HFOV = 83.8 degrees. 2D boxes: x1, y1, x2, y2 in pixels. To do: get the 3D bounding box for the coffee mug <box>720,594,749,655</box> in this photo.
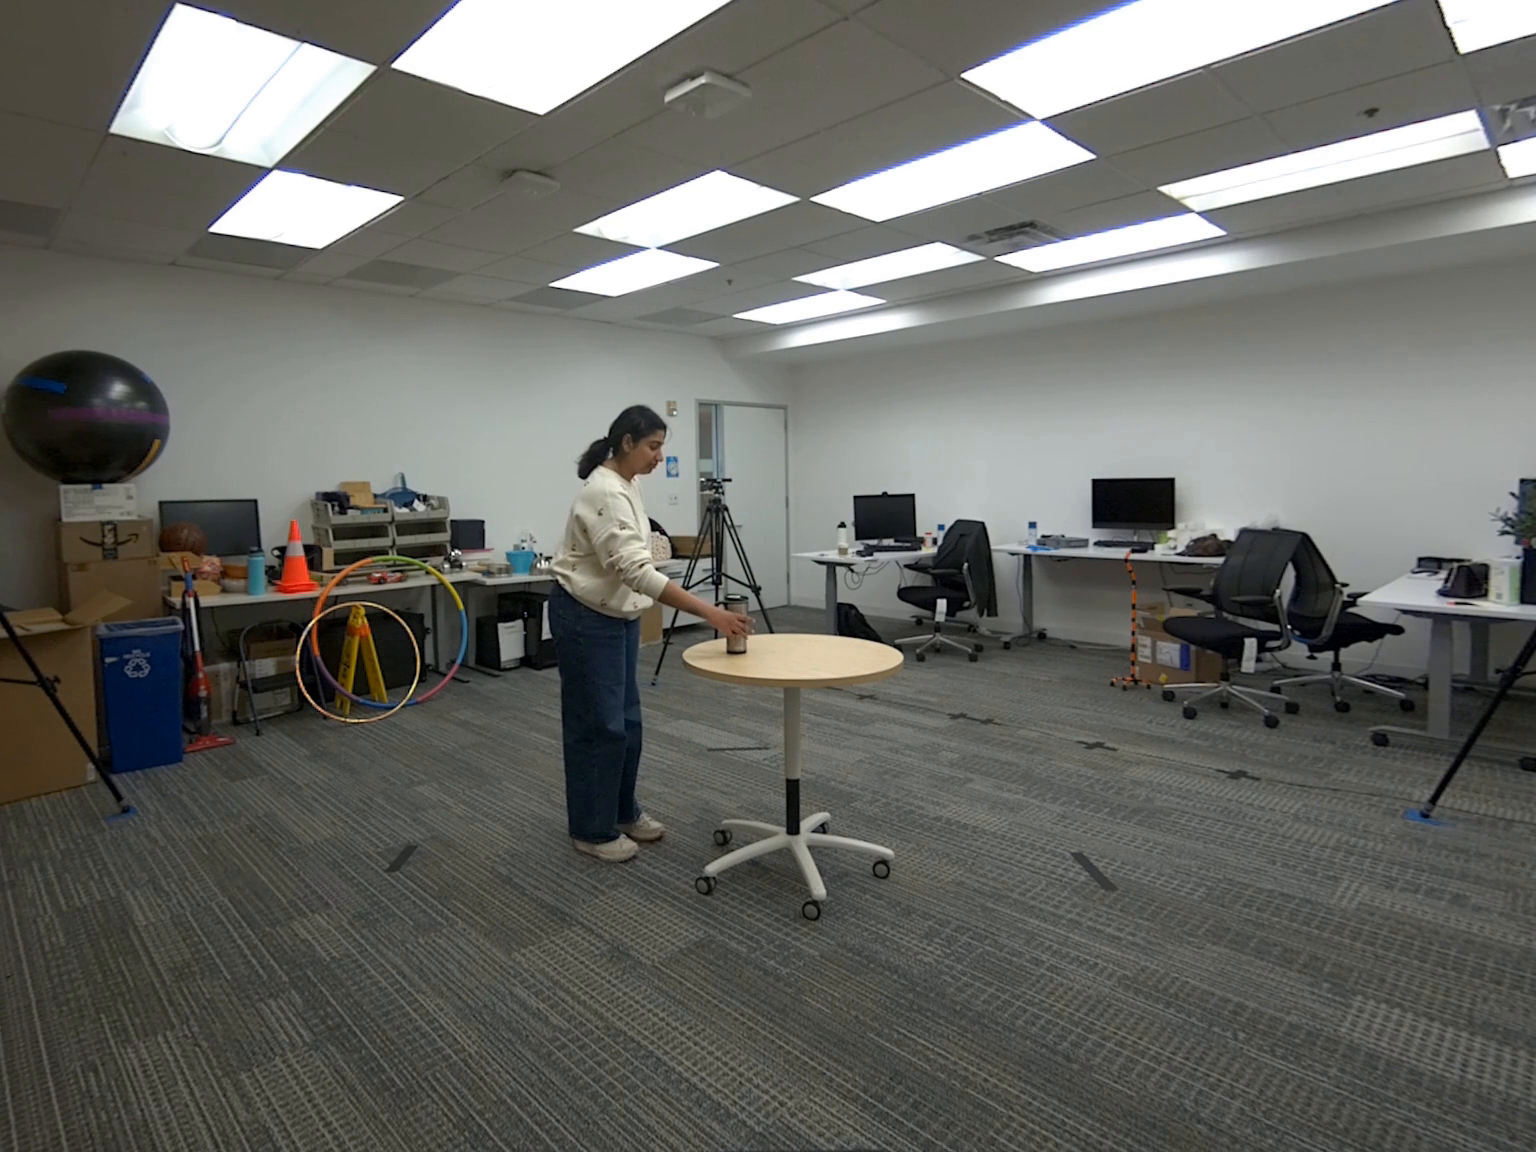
[{"bbox_3d":[-0.126,0.169,3.022,0.126,0.202,0.086,4,9,43],"label":"coffee mug"}]
